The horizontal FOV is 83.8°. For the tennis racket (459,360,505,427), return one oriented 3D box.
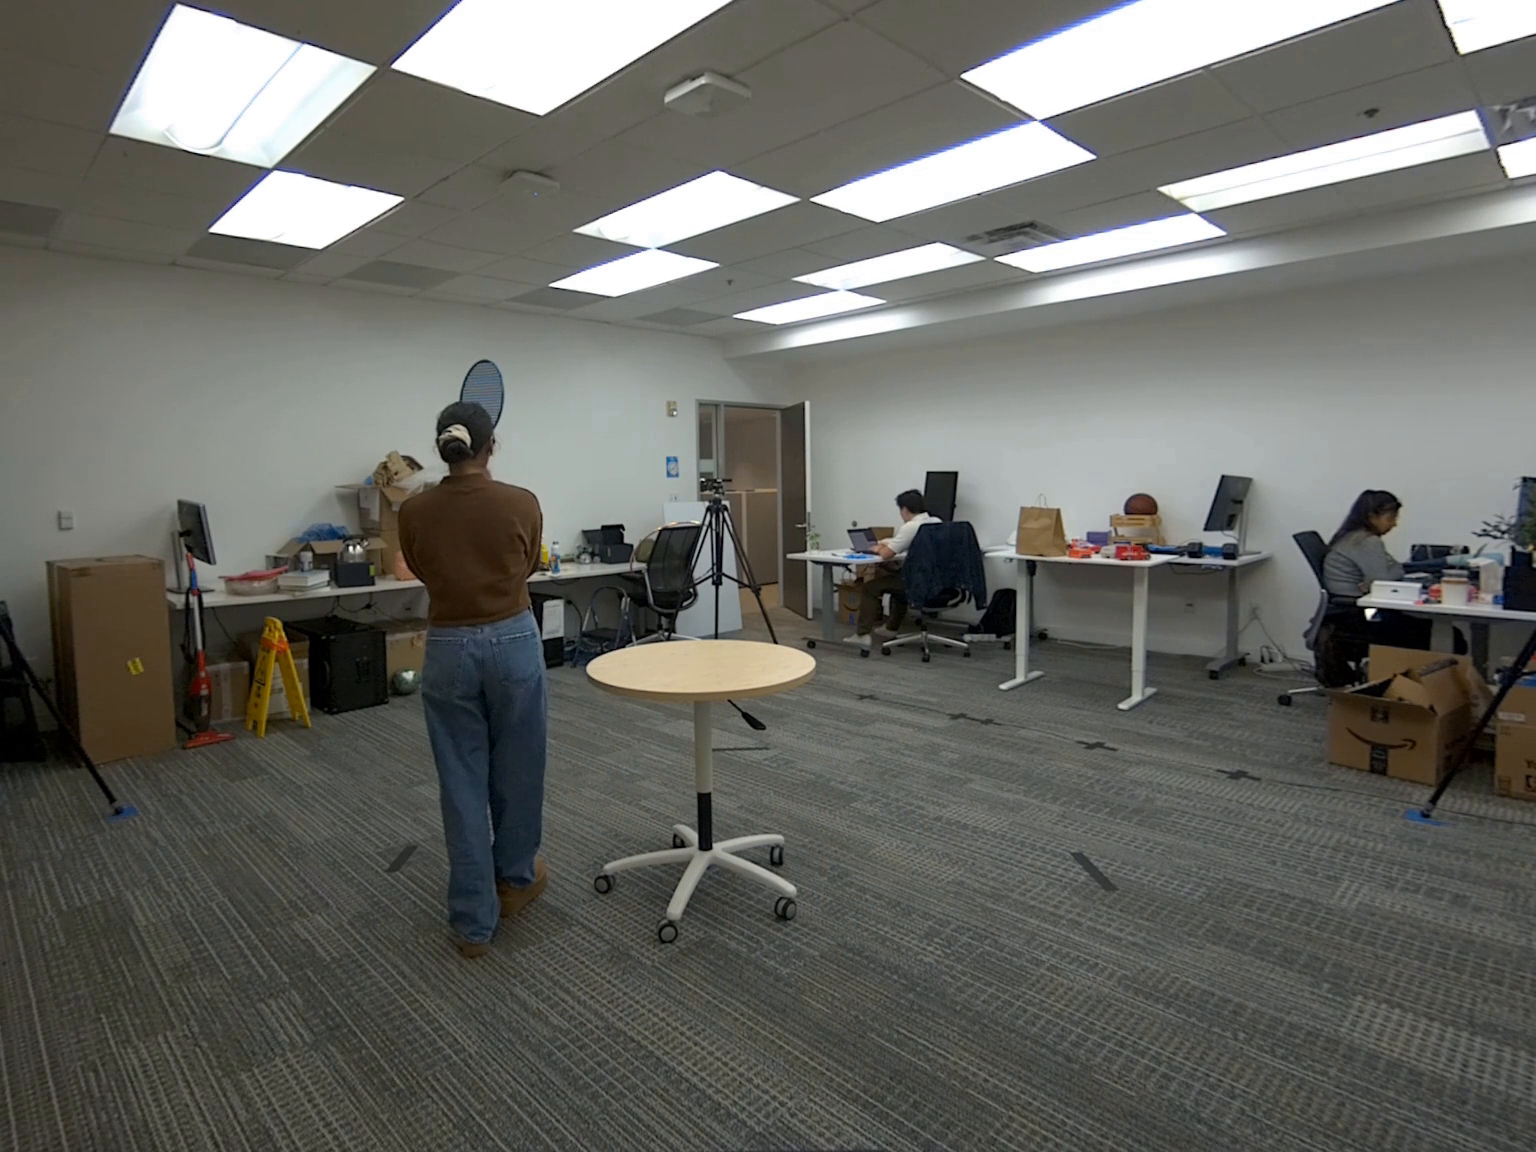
[{"bbox_3d":[-0.943,-0.499,2.813,0.220,0.433,0.031,6,0,34],"label":"tennis racket"}]
